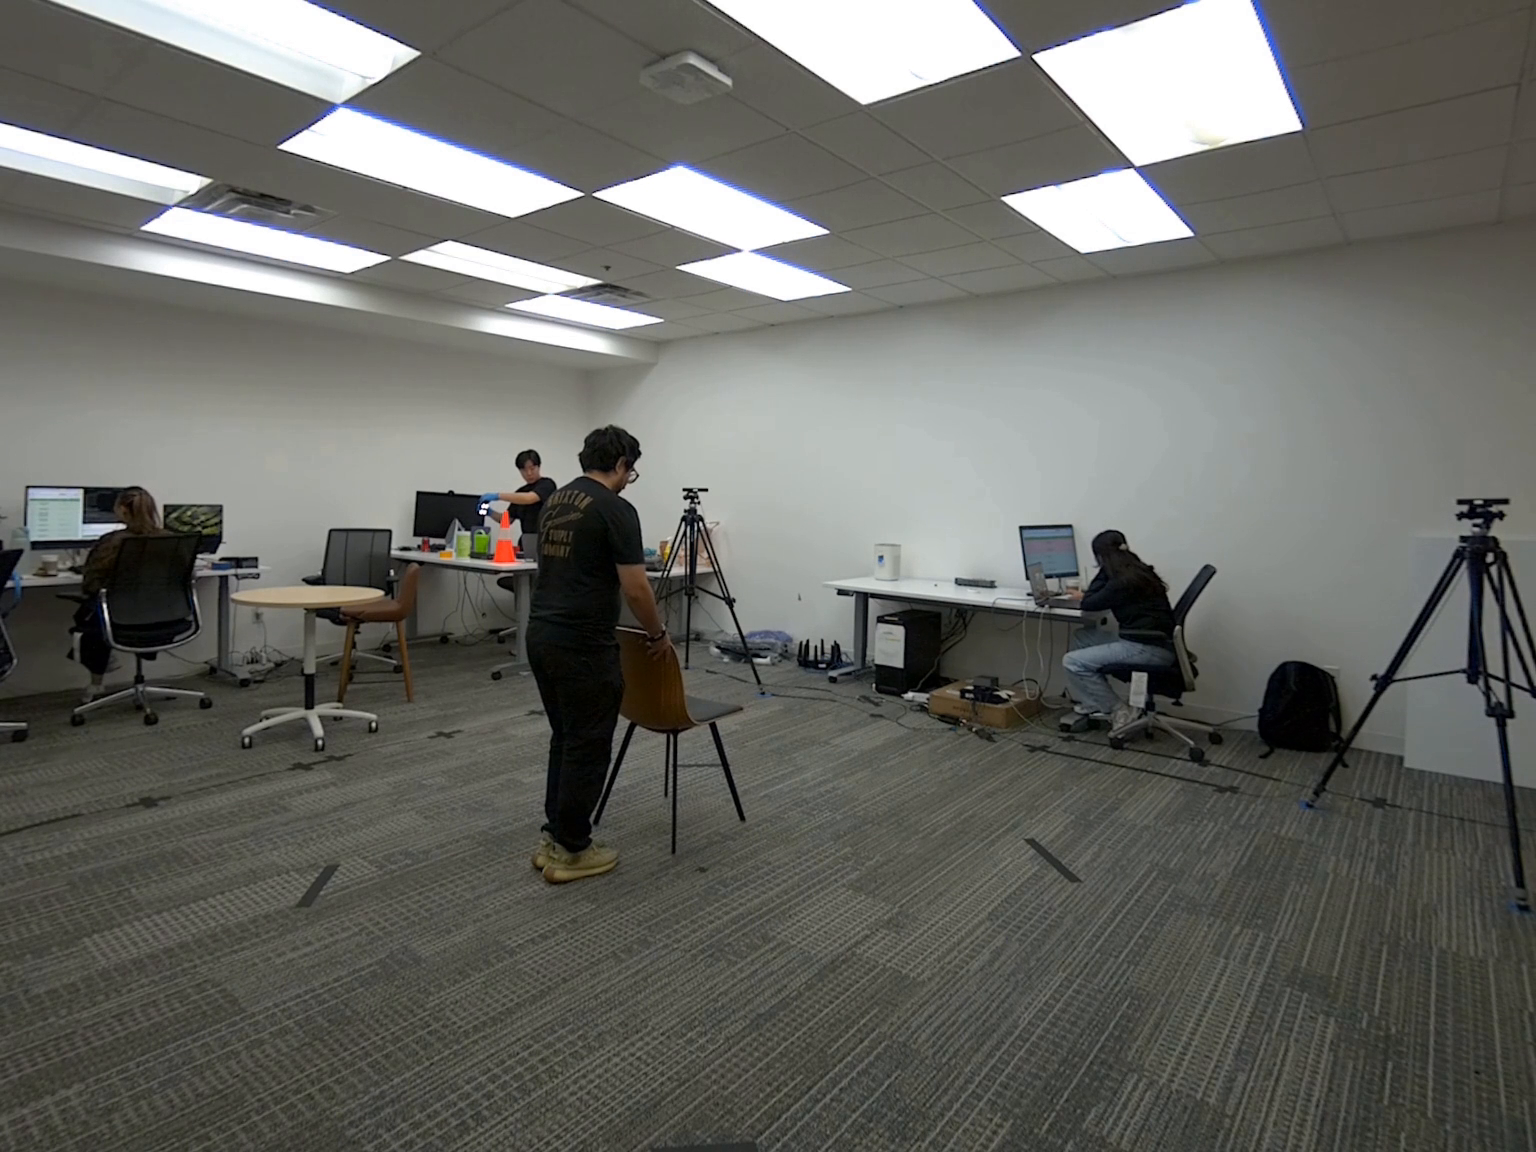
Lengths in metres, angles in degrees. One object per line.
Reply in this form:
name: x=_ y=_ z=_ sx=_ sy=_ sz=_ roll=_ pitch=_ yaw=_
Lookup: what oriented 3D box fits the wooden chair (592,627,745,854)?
wooden chair: x=-0.405 y=0.599 z=3.524 sx=0.494 sy=0.872 sz=0.510 roll=3 pitch=8 yaw=37
